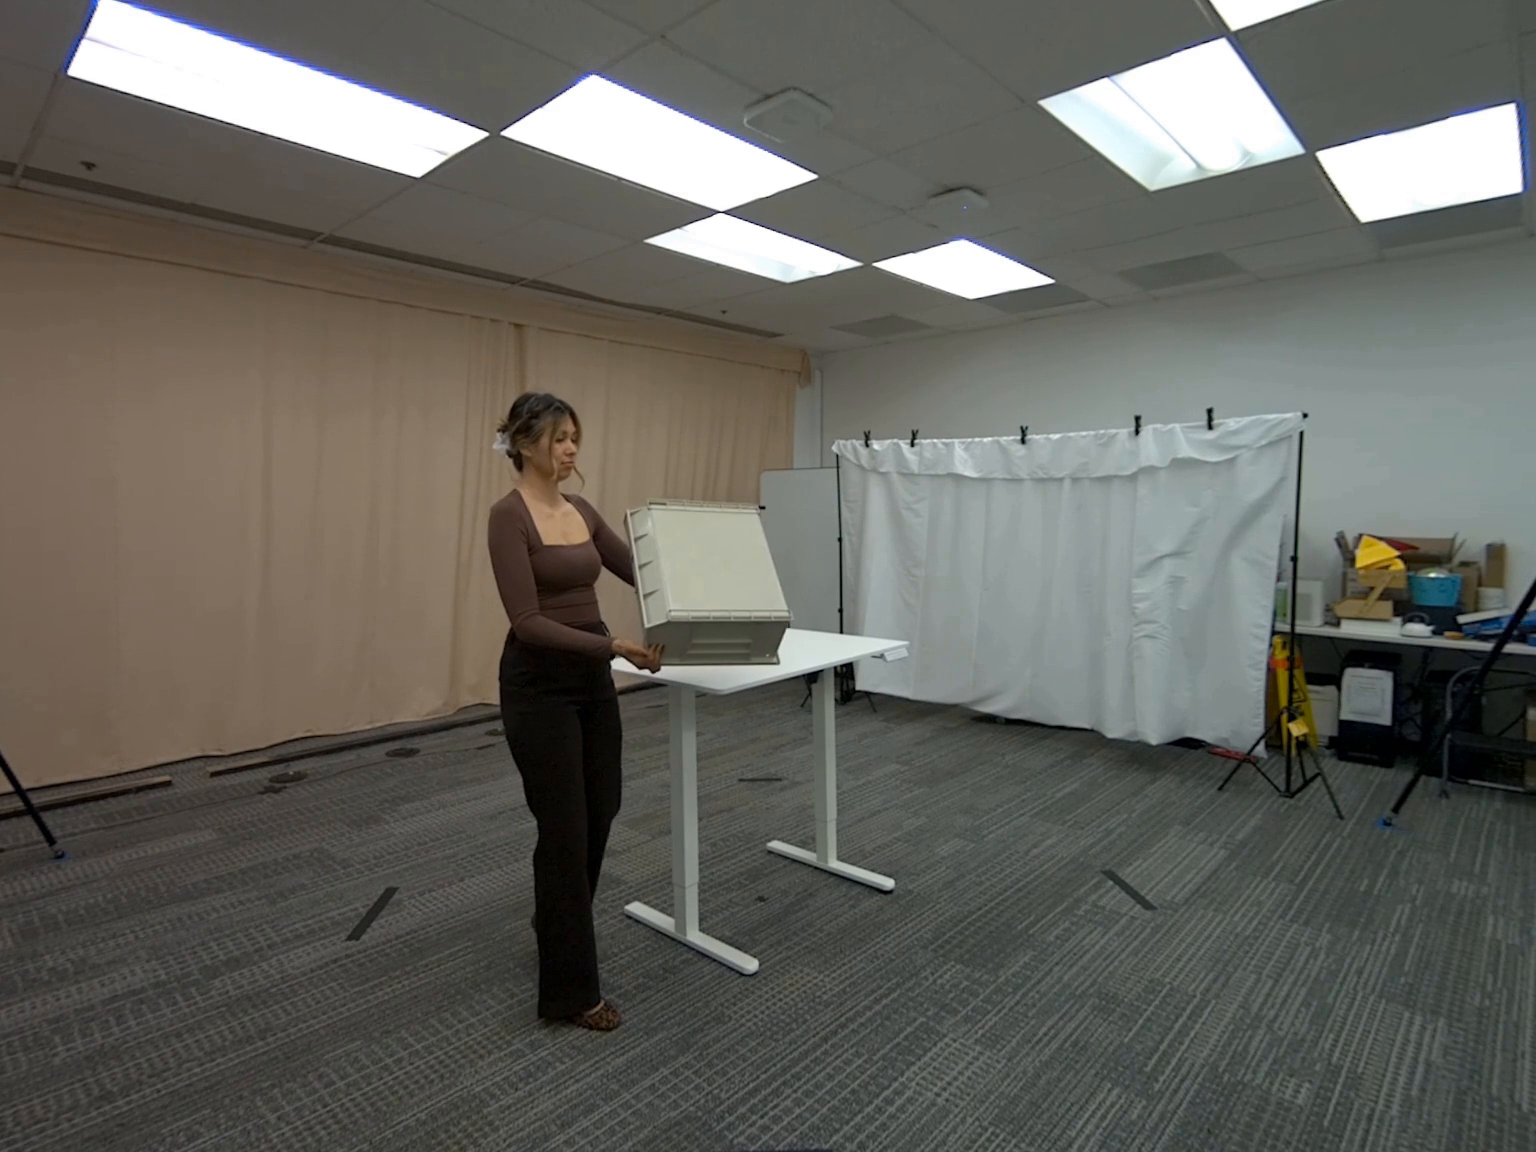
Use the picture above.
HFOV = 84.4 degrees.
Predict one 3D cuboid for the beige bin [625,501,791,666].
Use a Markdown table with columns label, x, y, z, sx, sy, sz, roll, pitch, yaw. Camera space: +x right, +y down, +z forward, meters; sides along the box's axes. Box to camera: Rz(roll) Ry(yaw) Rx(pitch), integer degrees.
| label | x | y | z | sx | sy | sz | roll | pitch | yaw |
| --- | --- | --- | --- | --- | --- | --- | --- | --- | --- |
| beige bin | -0.162 | 0.013 | 2.207 | 0.370 | 0.187 | 0.433 | 0 | 47 | -18 |
